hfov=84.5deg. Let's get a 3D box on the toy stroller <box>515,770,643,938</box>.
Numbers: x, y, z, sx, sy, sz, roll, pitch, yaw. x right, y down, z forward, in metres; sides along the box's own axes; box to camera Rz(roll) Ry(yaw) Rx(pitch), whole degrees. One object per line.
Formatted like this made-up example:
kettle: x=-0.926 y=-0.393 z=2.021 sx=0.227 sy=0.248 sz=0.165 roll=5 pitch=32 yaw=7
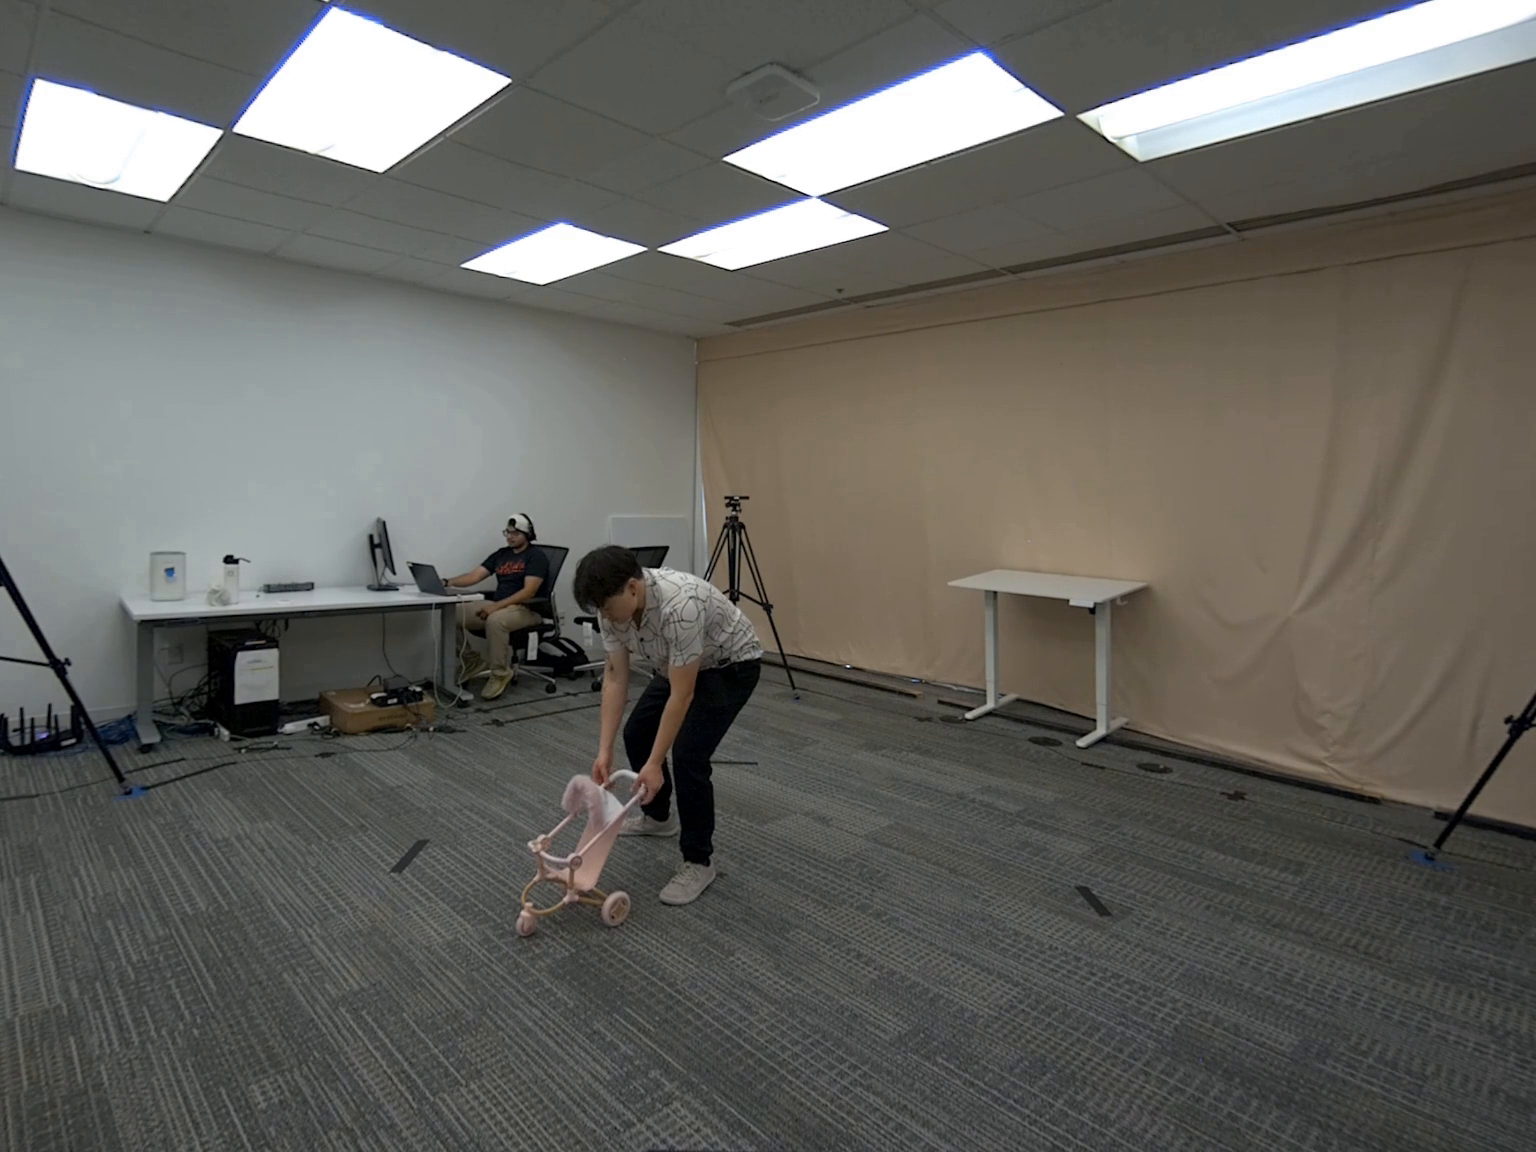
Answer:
toy stroller: x=-0.627 y=0.900 z=2.756 sx=0.331 sy=0.537 sz=0.288 roll=19 pitch=-9 yaw=-38
